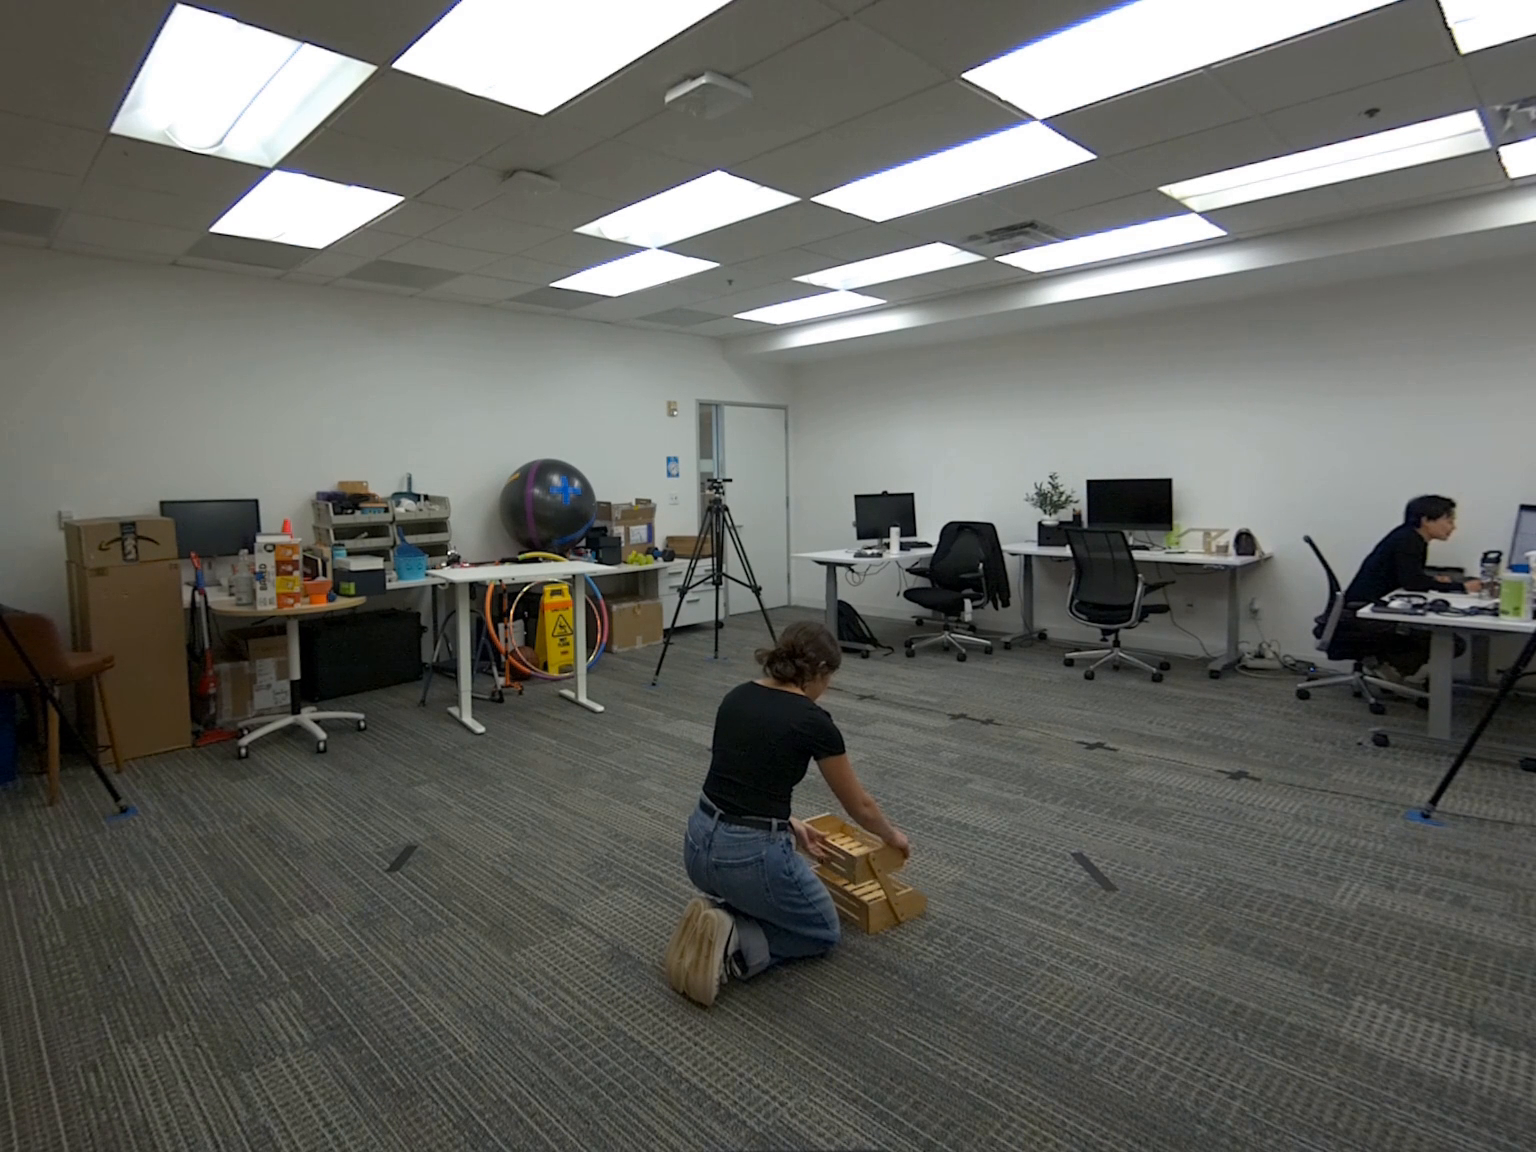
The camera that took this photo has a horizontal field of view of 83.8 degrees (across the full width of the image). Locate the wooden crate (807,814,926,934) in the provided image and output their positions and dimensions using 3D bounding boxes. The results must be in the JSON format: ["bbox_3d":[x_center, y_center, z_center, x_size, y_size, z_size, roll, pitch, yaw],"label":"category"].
[{"bbox_3d":[0.309,0.941,2.779,0.295,0.272,0.334,-5,7,-34],"label":"wooden crate"}]
